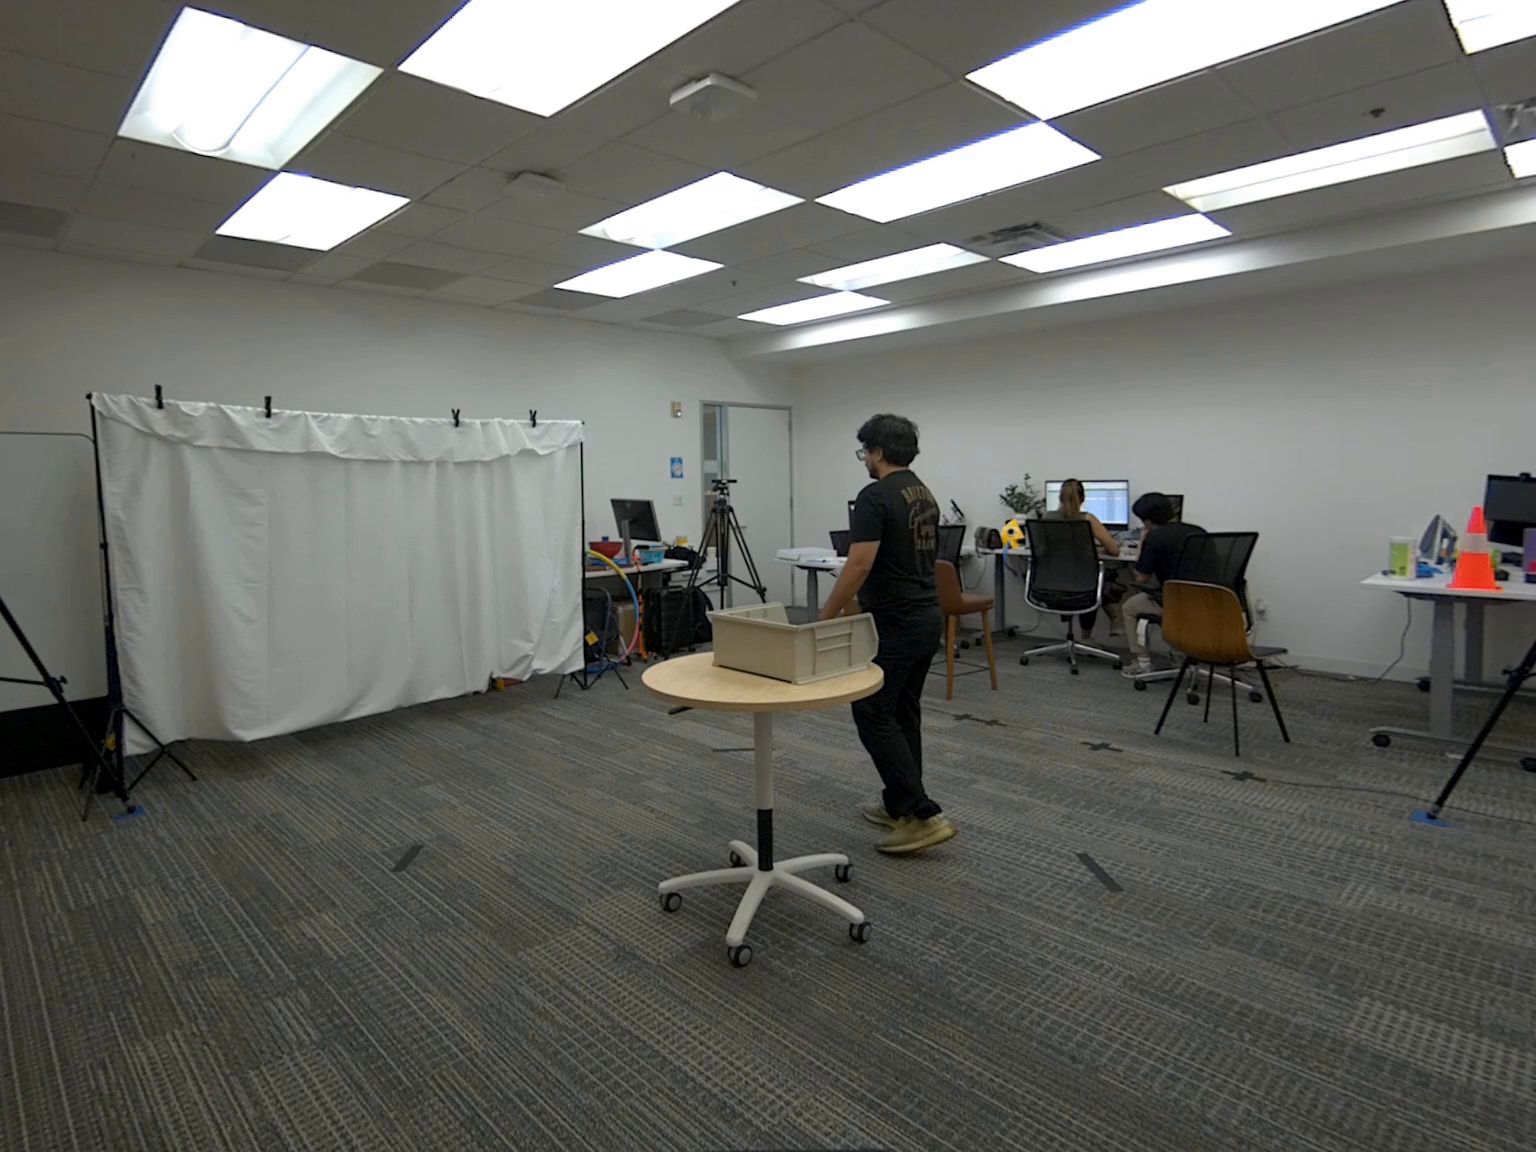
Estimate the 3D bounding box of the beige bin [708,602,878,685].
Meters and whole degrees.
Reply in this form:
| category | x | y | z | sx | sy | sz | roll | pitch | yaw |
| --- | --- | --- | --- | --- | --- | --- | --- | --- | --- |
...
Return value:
| category | x | y | z | sx | sy | sz | roll | pitch | yaw |
| --- | --- | --- | --- | --- | --- | --- | --- | --- | --- |
| beige bin | 0.078 | 0.209 | 2.794 | 0.368 | 0.188 | 0.435 | -8 | 9 | -41 |
